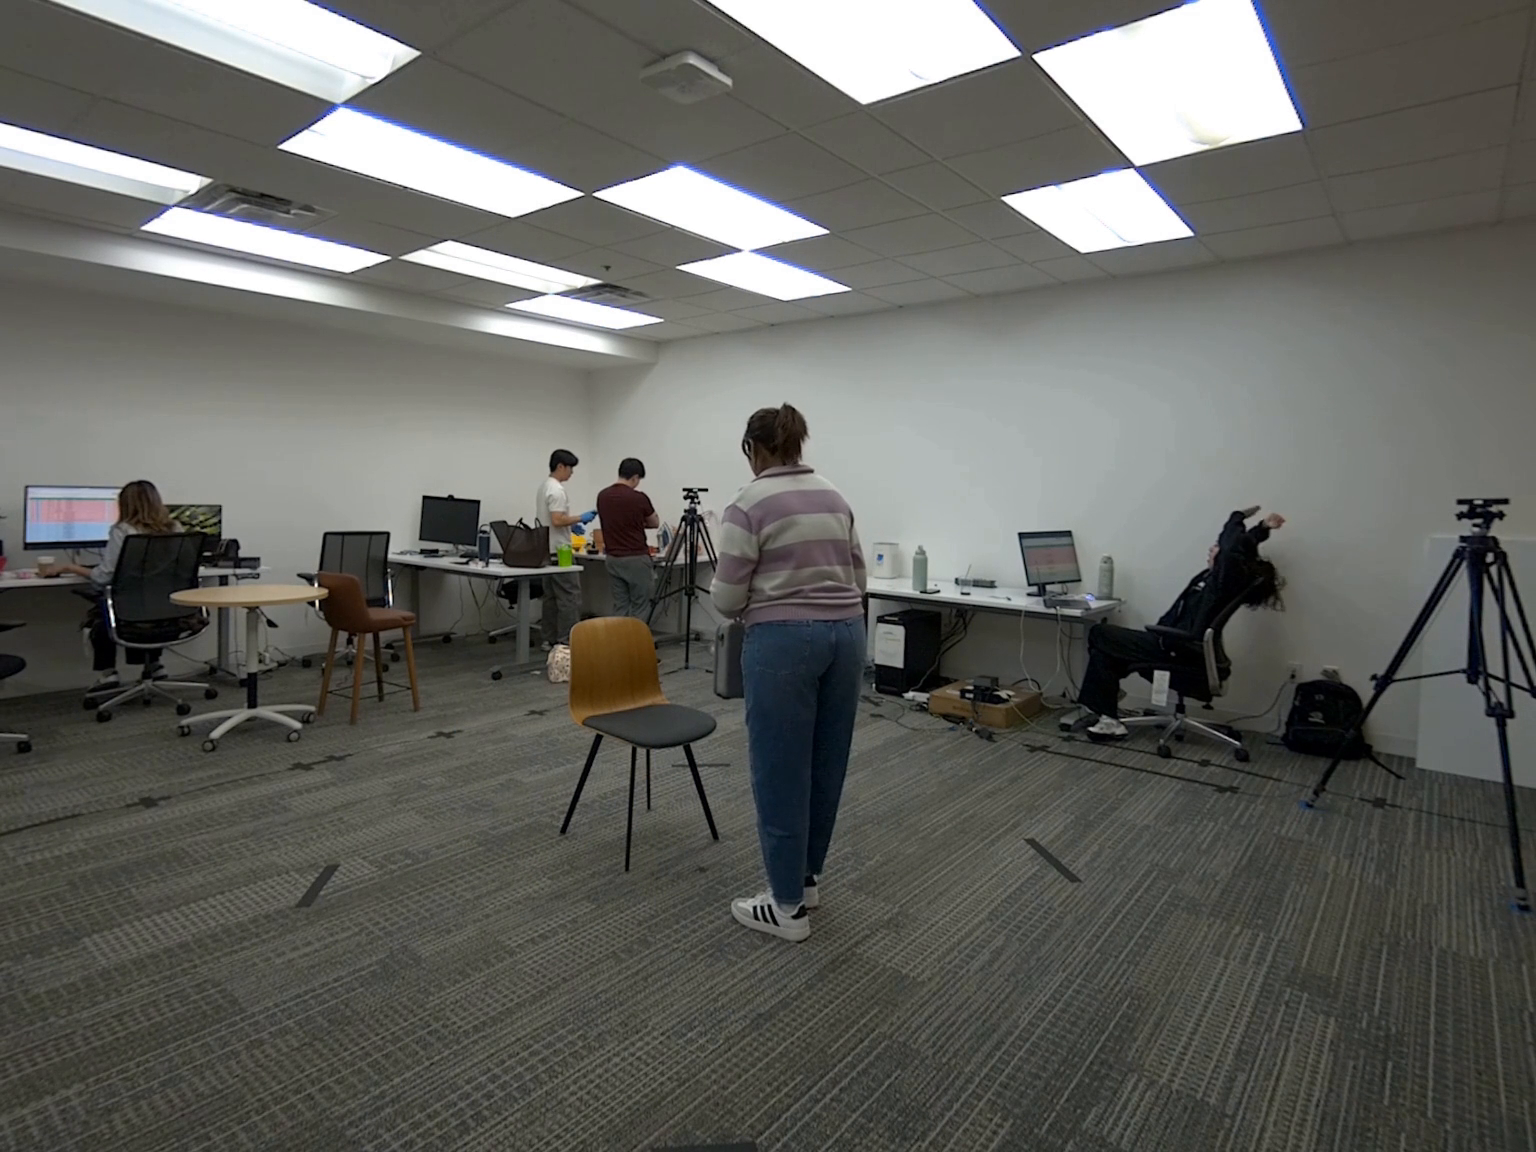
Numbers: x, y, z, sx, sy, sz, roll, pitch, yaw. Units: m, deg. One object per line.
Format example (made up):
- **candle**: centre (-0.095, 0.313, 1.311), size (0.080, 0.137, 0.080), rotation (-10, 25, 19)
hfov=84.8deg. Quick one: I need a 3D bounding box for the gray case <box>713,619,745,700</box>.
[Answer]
- **gray case**: centre (-0.062, 0.285, 2.922), size (0.250, 0.262, 0.106), rotation (5, -8, -27)
